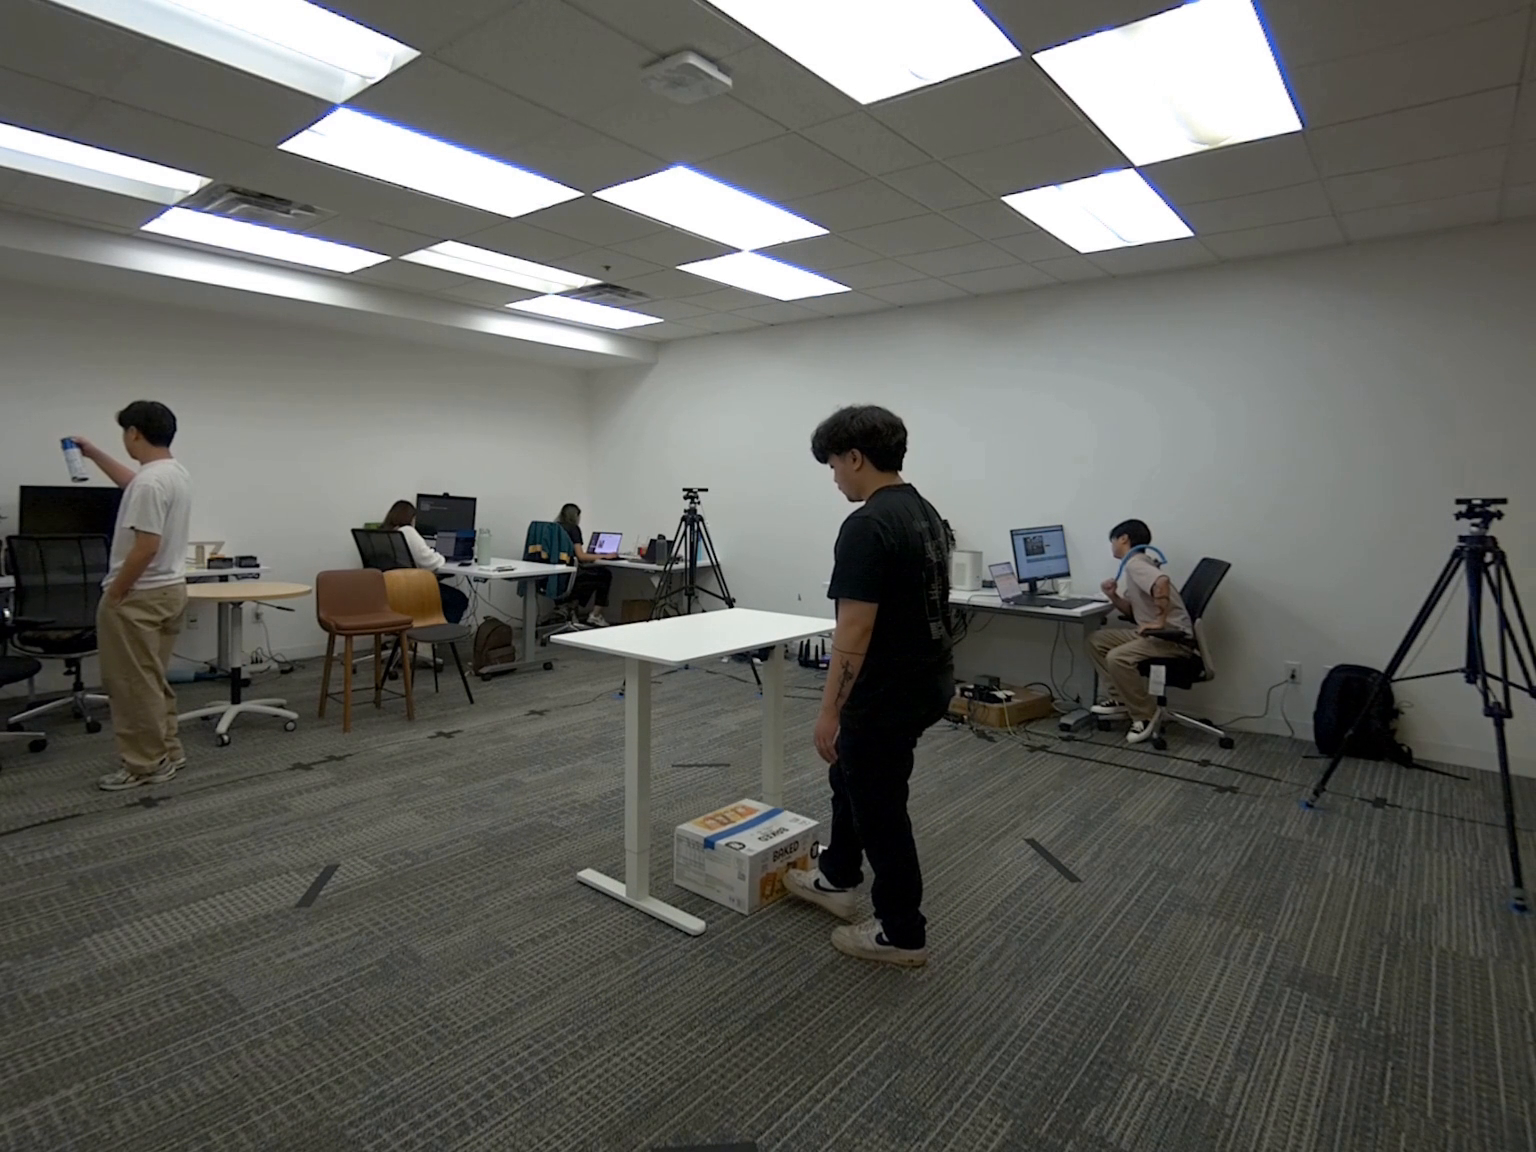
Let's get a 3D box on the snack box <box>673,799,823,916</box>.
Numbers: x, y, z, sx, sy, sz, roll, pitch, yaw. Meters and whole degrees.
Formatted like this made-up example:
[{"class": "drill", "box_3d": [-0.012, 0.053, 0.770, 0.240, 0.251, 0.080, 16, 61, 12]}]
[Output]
[{"class": "snack box", "box_3d": [-0.080, 0.980, 3.014, 0.352, 0.205, 0.393, 4, 6, 39]}]
